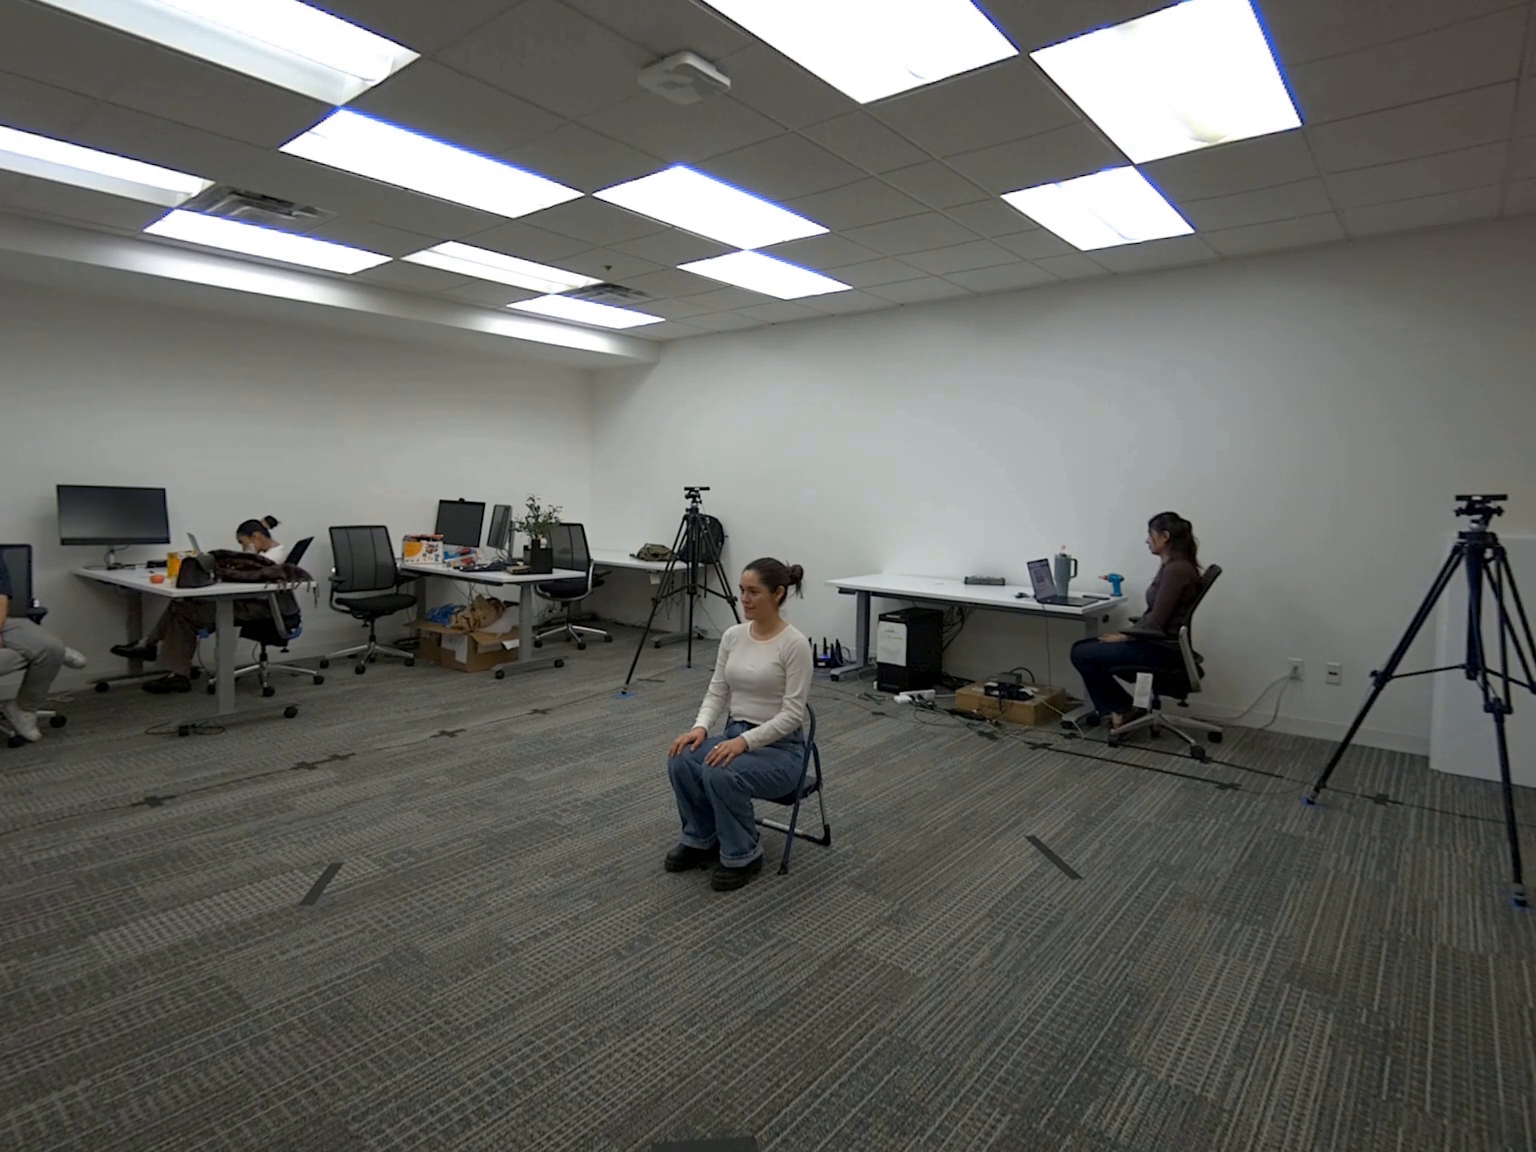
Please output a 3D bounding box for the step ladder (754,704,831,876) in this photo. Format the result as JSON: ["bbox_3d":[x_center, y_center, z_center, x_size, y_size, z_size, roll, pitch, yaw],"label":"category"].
[{"bbox_3d":[-0.014,0.742,3.317,0.445,0.604,0.339,4,4,37],"label":"step ladder"}]
